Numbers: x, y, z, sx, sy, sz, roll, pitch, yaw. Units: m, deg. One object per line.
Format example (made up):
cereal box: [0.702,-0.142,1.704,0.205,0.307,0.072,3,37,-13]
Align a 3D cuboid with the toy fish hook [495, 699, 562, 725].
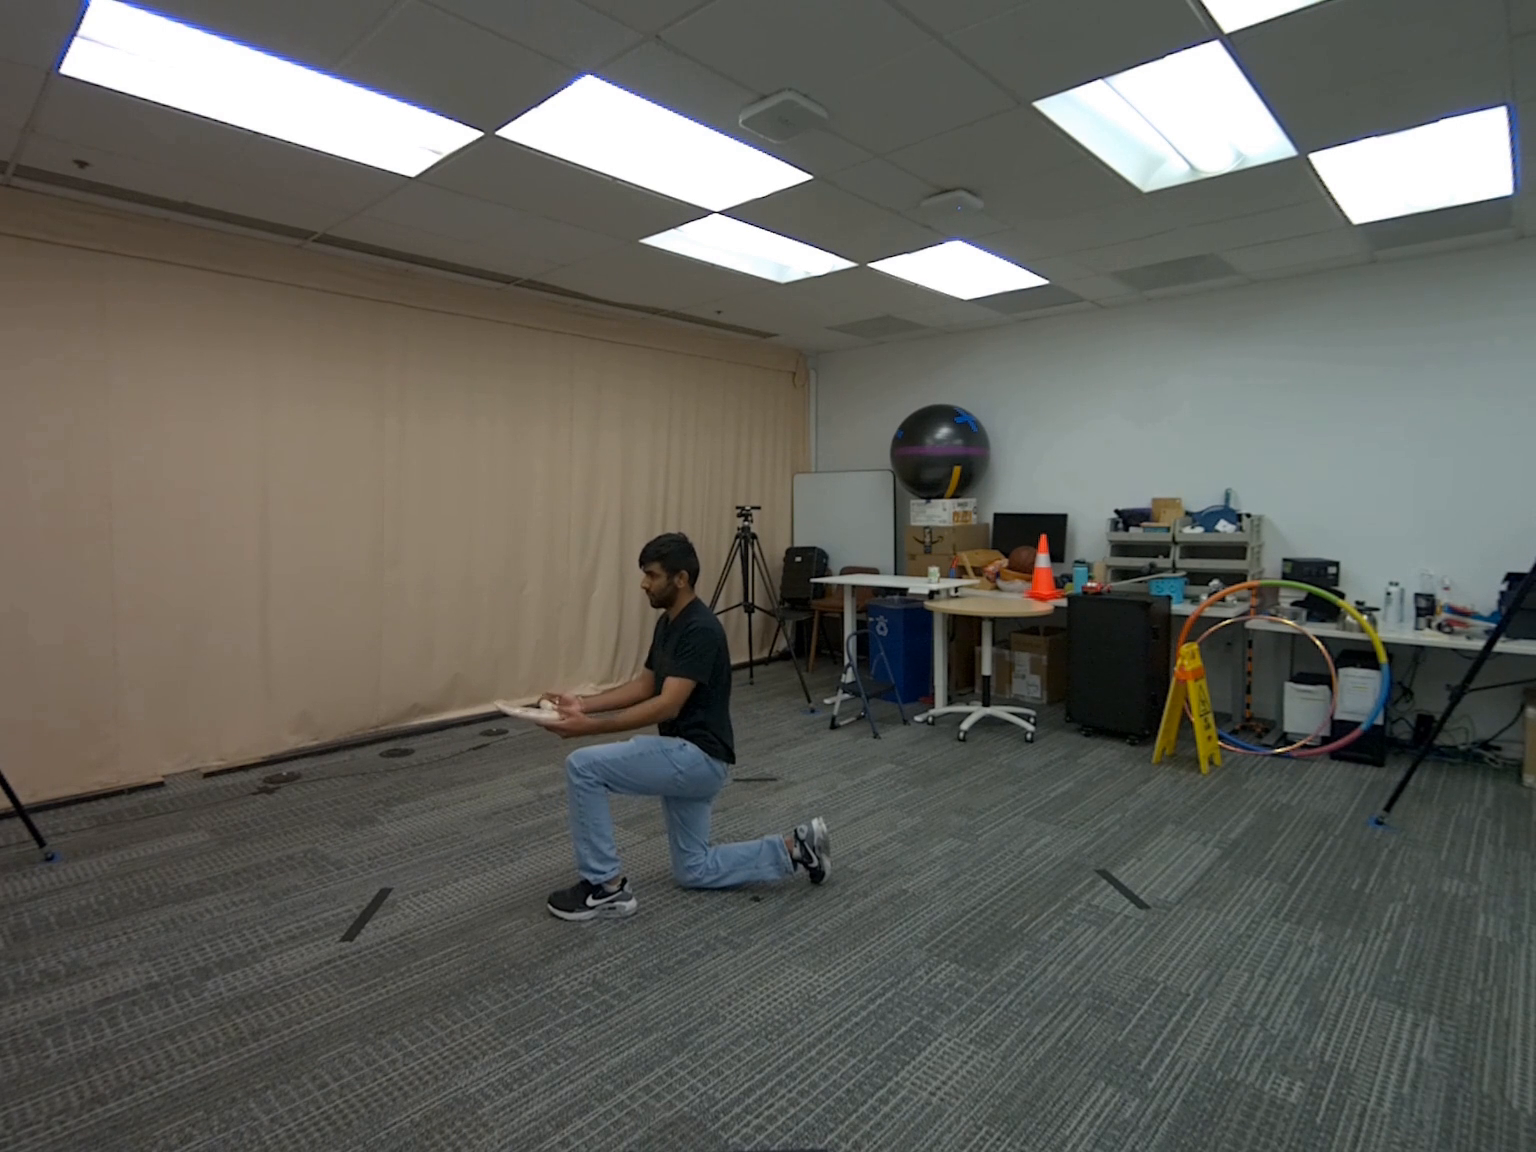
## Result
toy fish hook: [-0.782,0.431,2.858,0.221,0.048,0.513,16,-5,-14]
